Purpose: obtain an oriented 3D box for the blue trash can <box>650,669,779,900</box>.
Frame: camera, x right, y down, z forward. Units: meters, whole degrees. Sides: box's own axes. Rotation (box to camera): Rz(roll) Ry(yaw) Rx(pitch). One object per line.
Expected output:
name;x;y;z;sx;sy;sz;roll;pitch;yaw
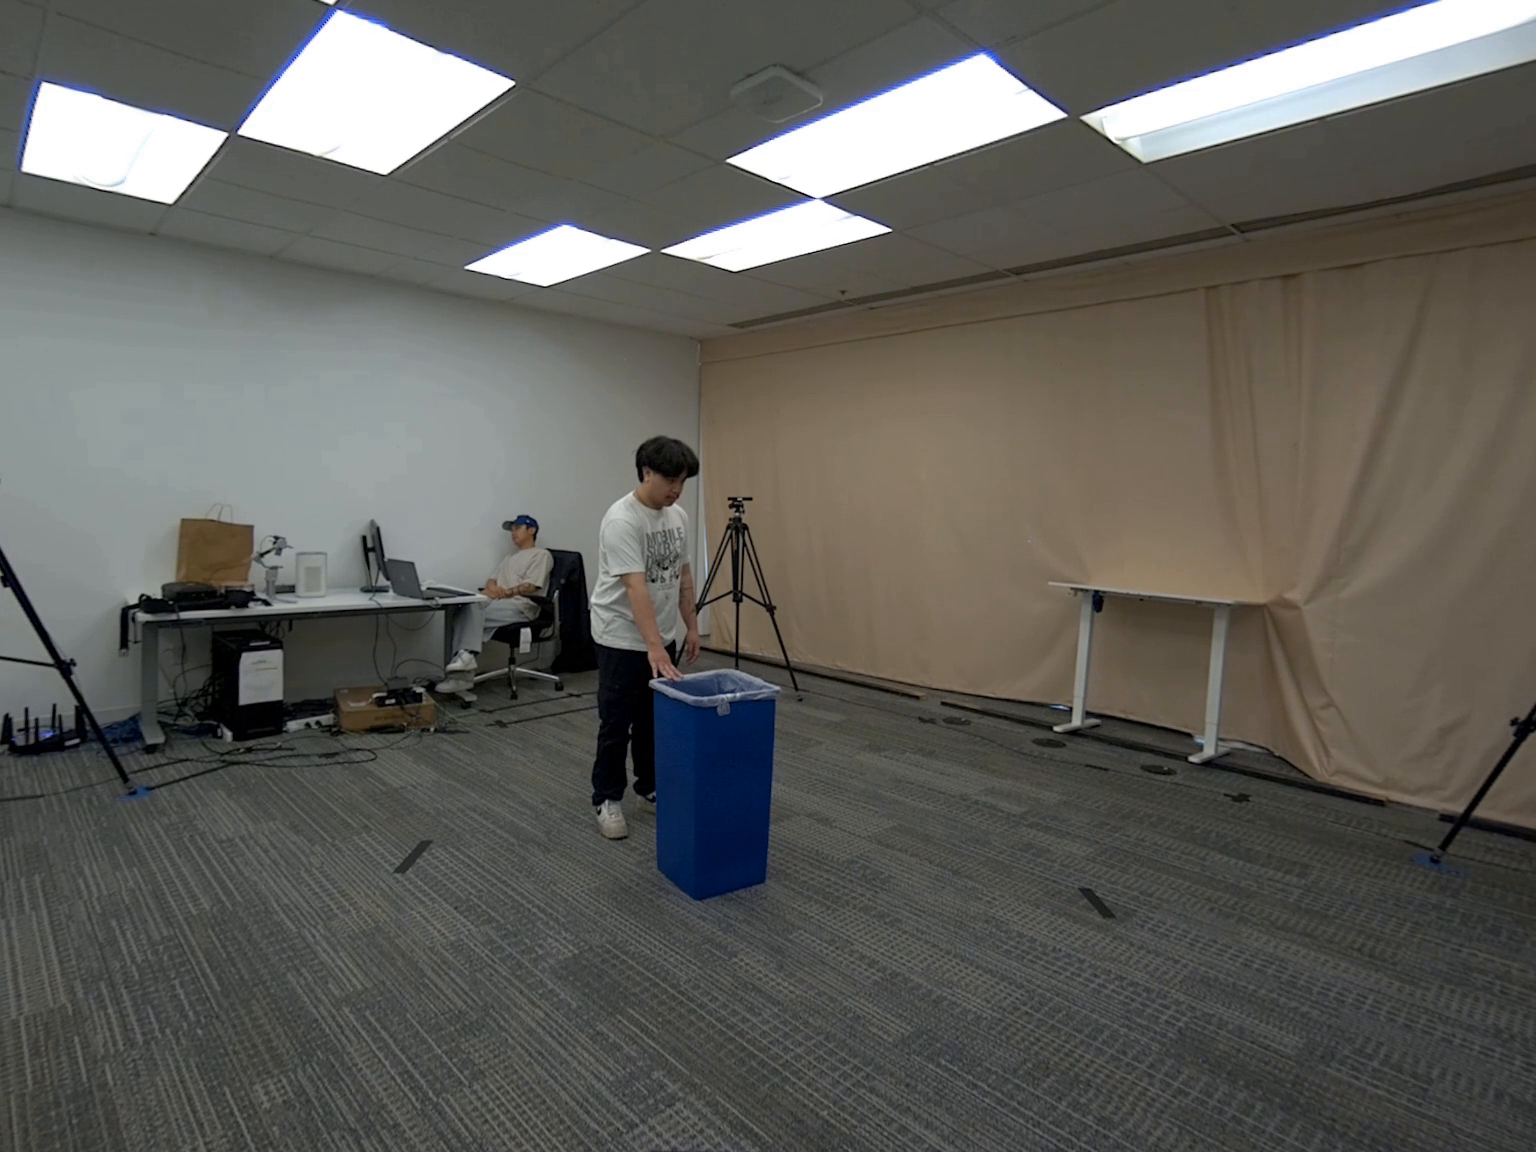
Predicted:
blue trash can;-0.216;0.749;3.095;0.370;0.712;0.383;-1;4;-34
